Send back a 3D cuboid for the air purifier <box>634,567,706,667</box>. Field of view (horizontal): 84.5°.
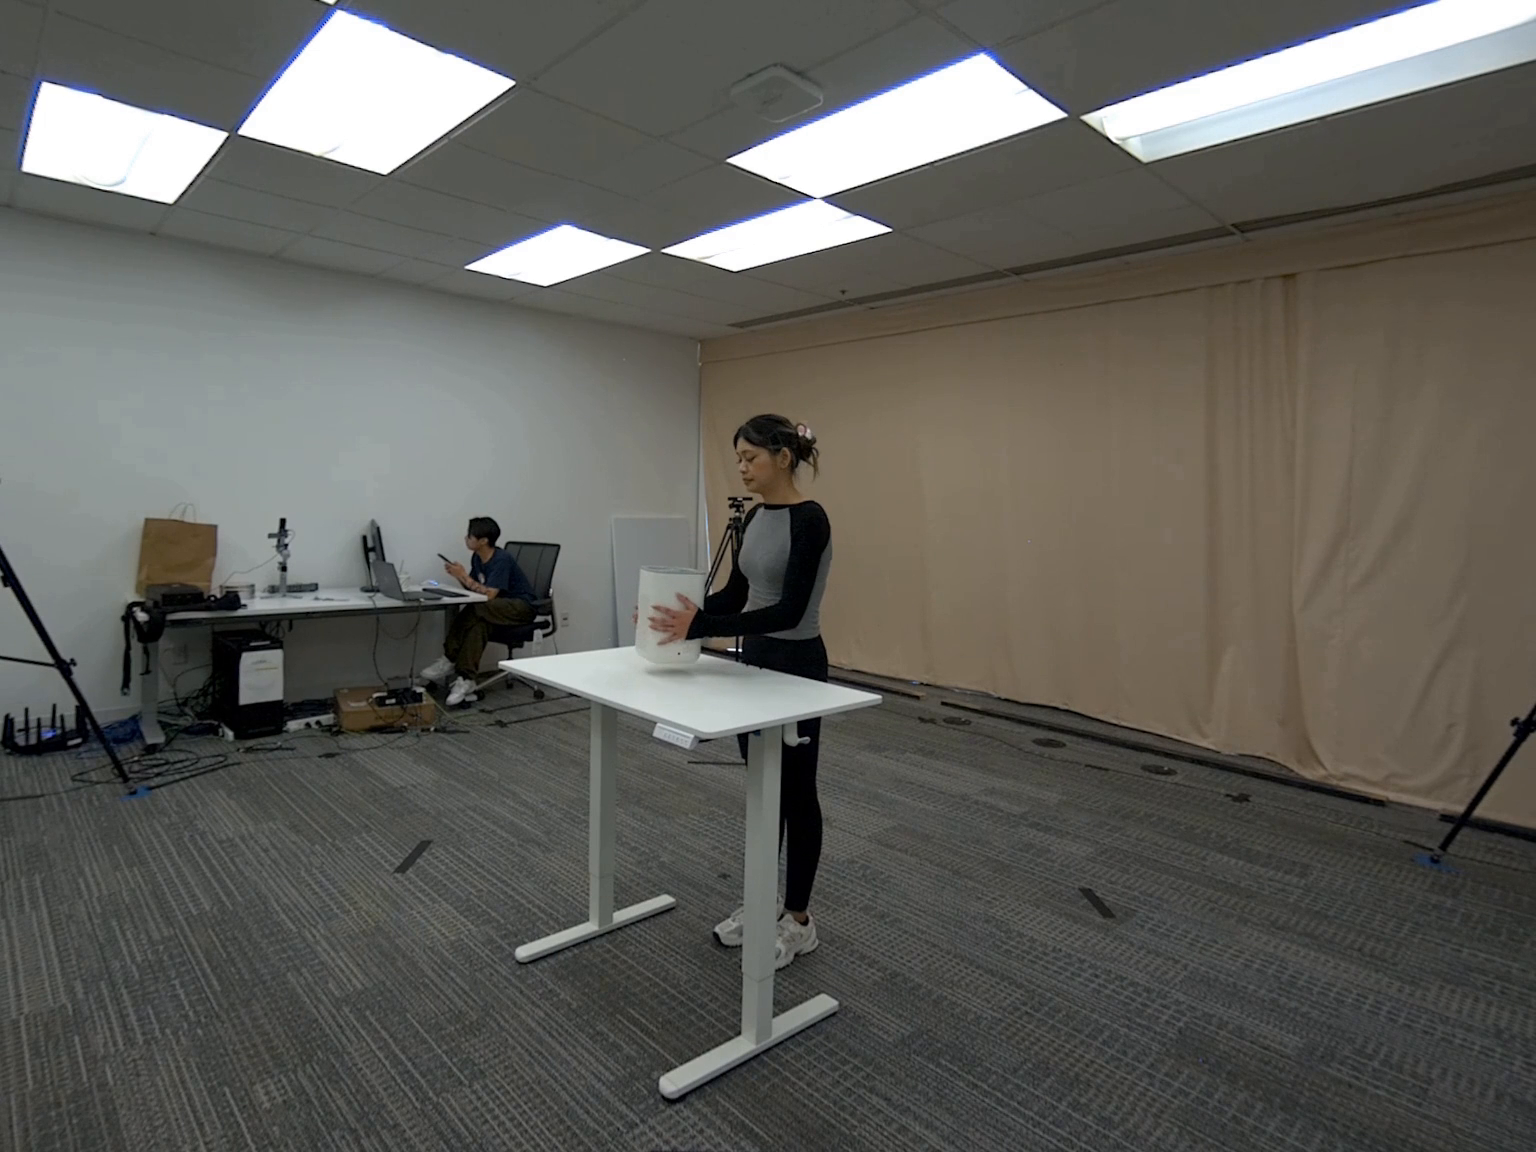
[{"bbox_3d":[-0.288,0.116,2.451,0.167,0.265,0.175,2,3,-30],"label":"air purifier"}]
